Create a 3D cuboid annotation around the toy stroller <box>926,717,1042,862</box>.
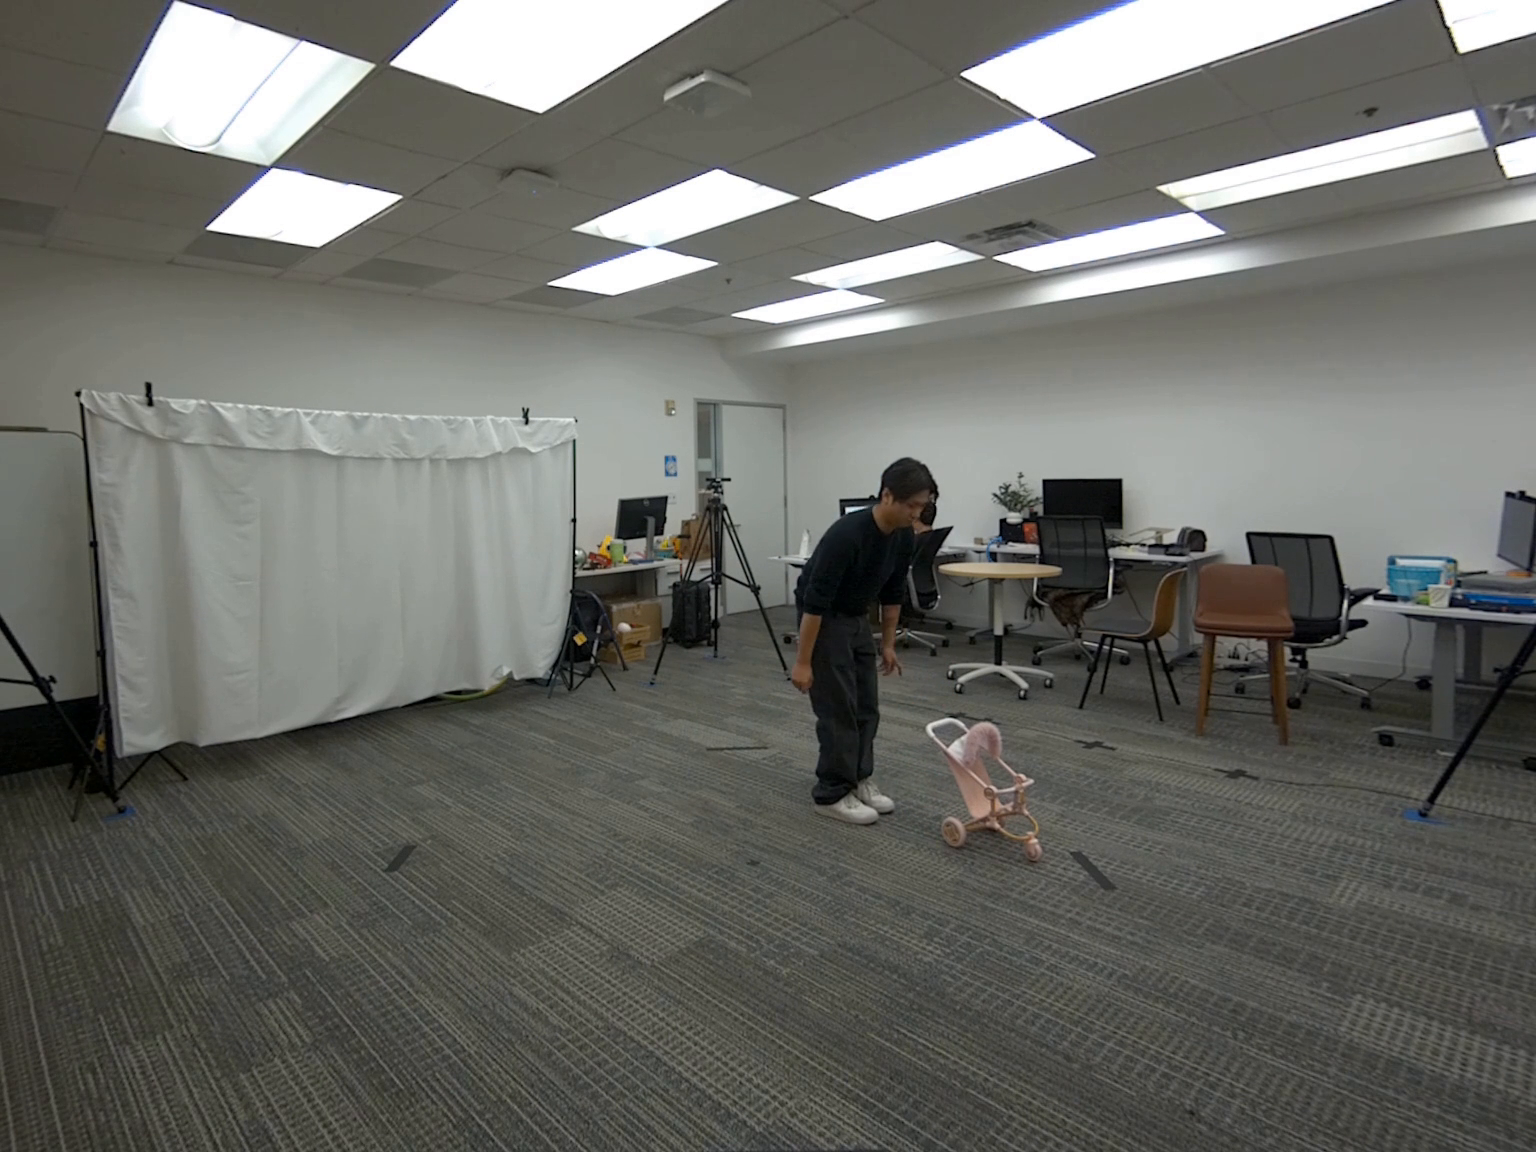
[{"bbox_3d":[0.831,0.793,3.225,0.274,0.542,0.346,-4,-13,-34],"label":"toy stroller"}]
